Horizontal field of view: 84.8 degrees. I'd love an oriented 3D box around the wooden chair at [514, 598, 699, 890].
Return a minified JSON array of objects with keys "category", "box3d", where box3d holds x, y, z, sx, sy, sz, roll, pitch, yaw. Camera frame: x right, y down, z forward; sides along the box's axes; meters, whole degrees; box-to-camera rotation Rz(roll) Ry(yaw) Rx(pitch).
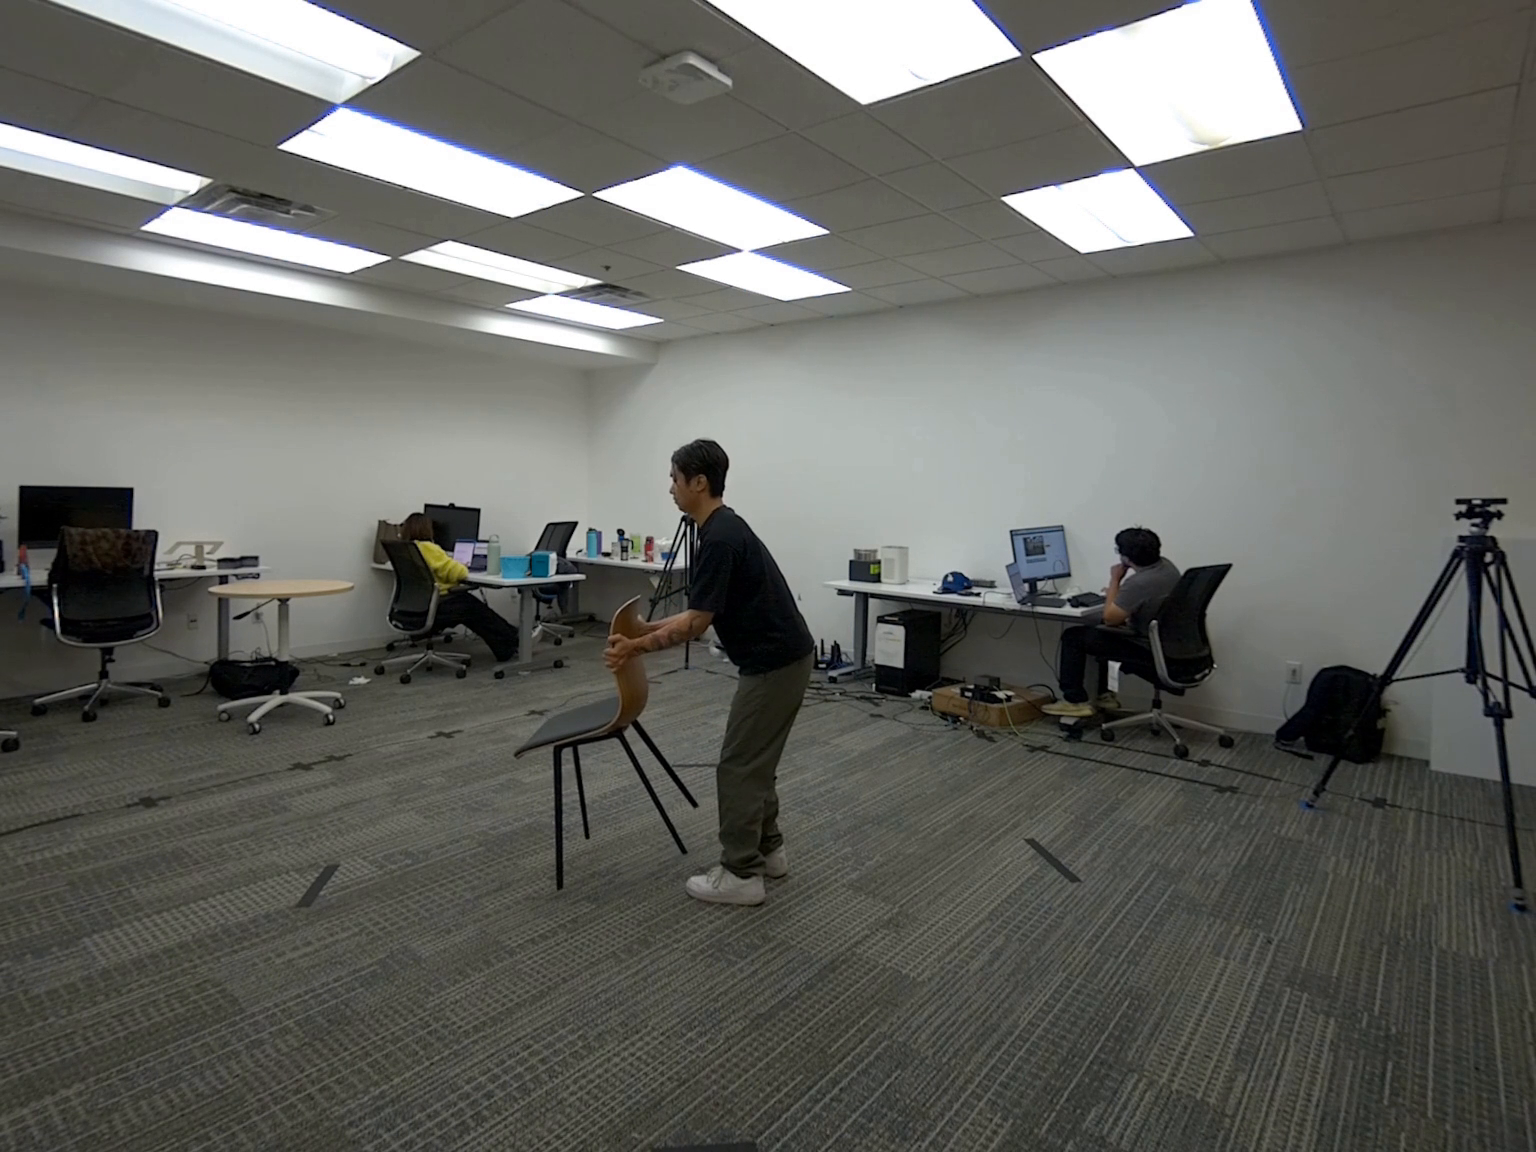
[{"category":"wooden chair","box3d":[-0.628,0.557,3.030,0.525,0.876,0.477,-13,2,3]}]
